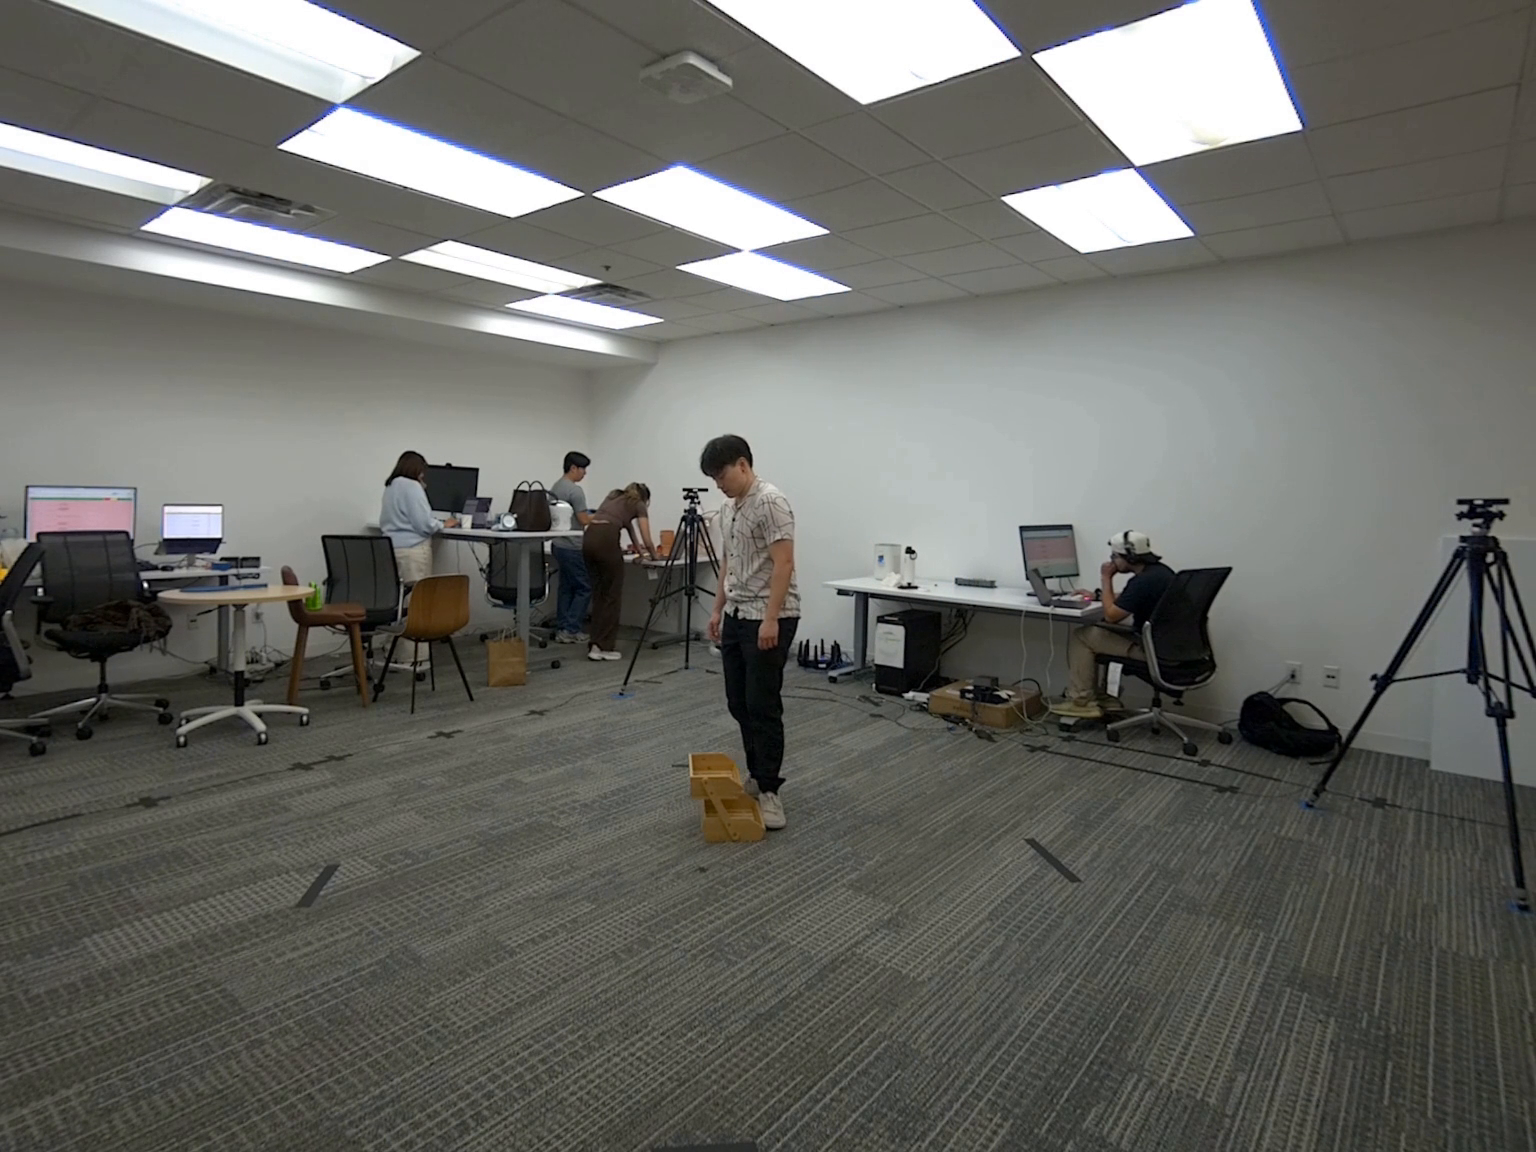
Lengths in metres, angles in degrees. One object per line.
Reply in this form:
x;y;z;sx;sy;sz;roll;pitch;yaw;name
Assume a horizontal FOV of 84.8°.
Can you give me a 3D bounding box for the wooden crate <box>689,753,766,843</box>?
-0.179;0.899;3.507;0.300;0.272;0.327;1;4;-6;wooden crate
